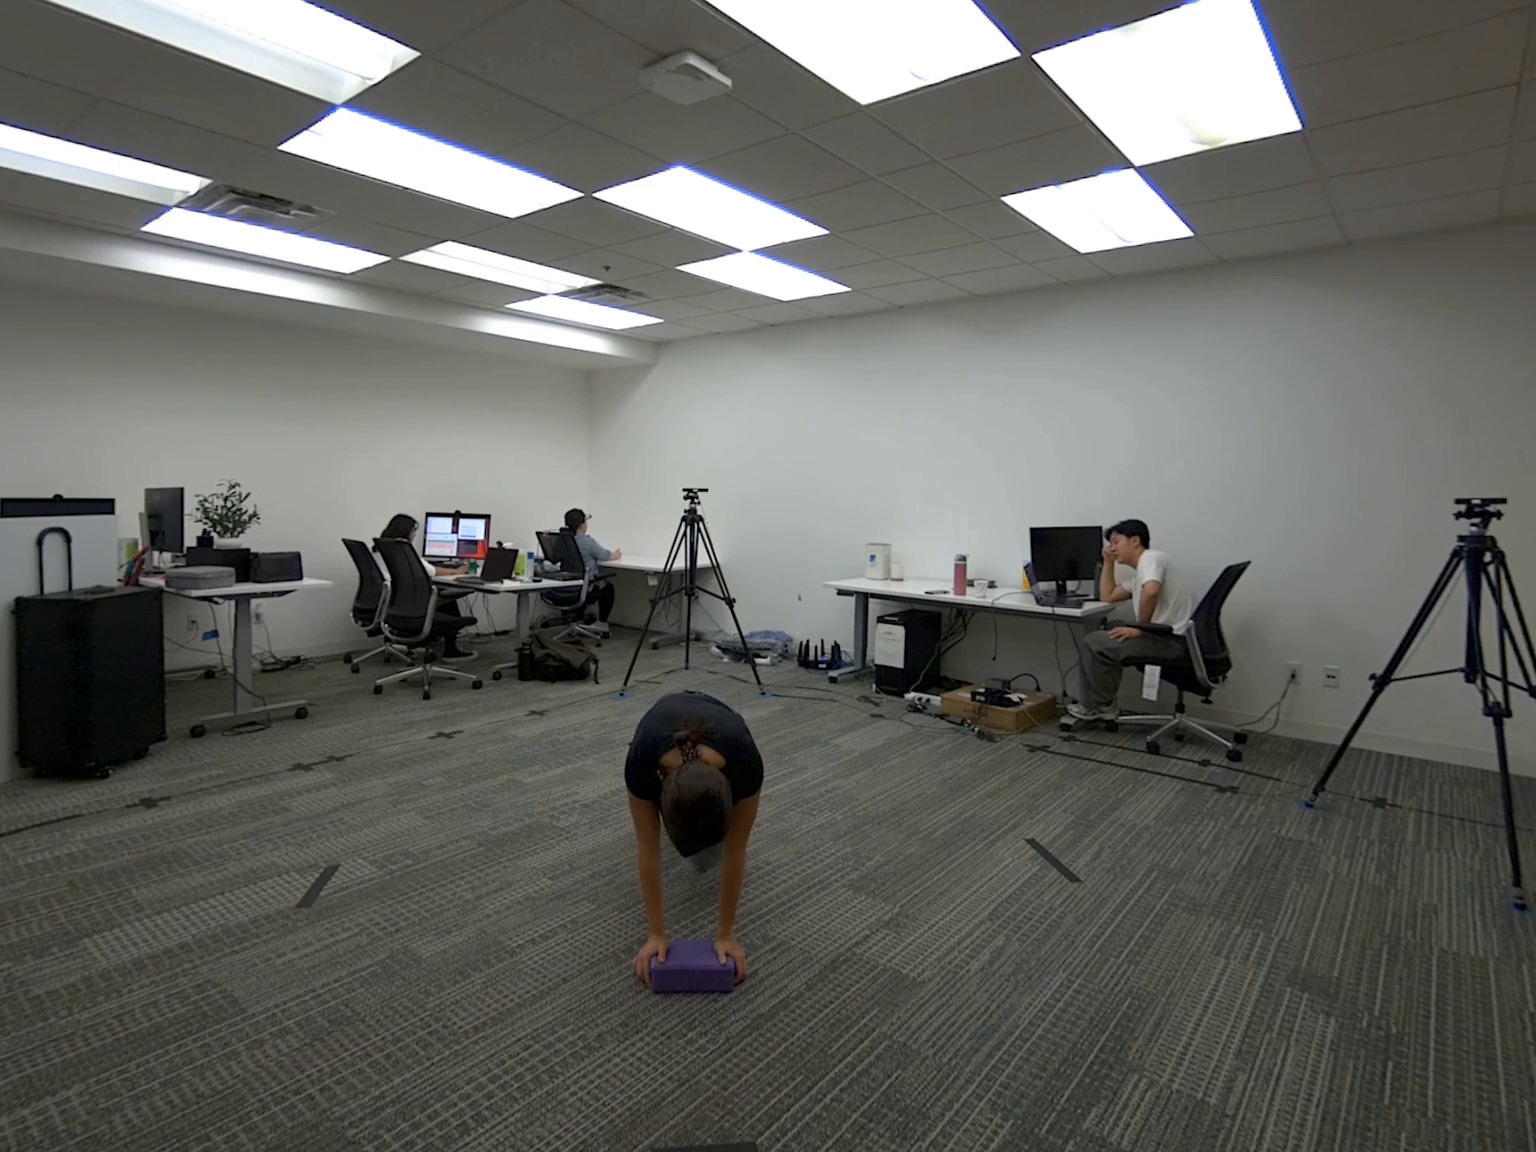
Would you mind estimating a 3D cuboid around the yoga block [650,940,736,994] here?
[{"bbox_3d":[-0.217,1.099,2.408,0.228,0.076,0.150,1,4,-4],"label":"yoga block"}]
